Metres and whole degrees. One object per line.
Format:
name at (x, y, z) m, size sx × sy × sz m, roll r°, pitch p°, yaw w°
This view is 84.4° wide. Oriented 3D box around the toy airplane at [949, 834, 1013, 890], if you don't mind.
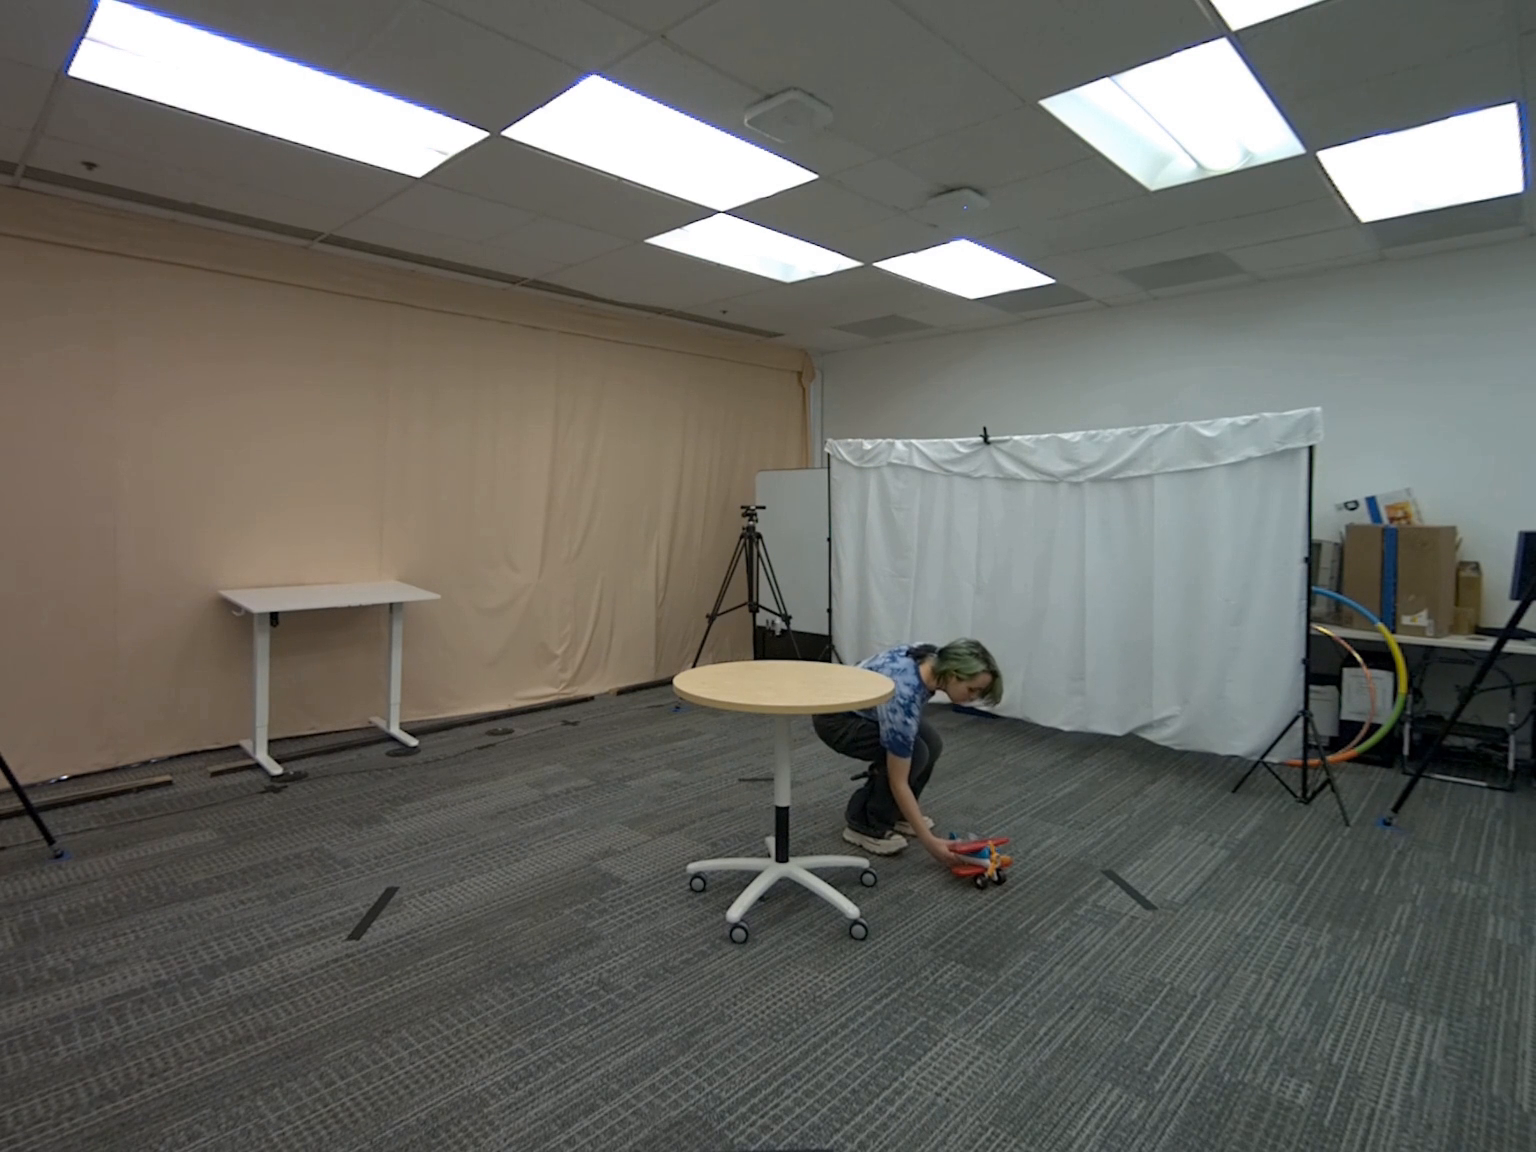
toy airplane at (0.756, 1.047, 3.143) m, size 0.268 × 0.156 × 0.244 m, roll 5°, pitch 7°, yaw 36°
